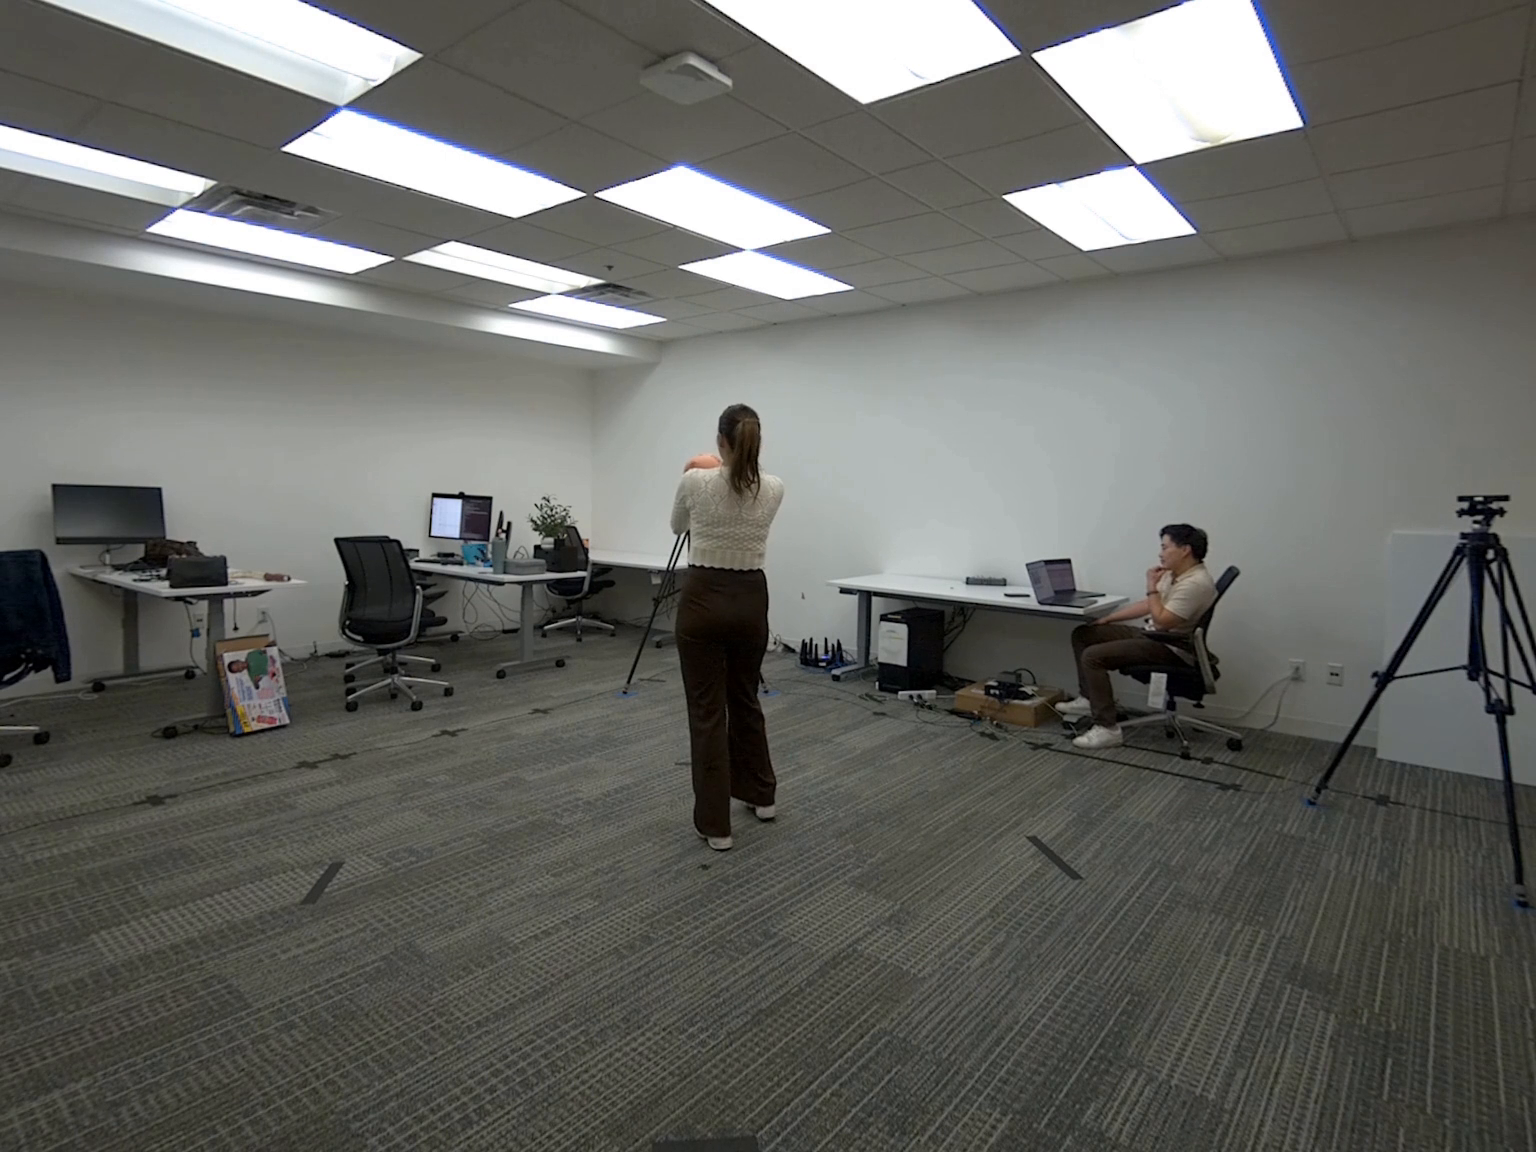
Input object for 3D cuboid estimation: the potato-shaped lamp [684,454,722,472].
[{"bbox_3d":[-0.301,-0.474,3.864,0.167,0.169,0.198,12,19,10],"label":"potato-shaped lamp"}]
